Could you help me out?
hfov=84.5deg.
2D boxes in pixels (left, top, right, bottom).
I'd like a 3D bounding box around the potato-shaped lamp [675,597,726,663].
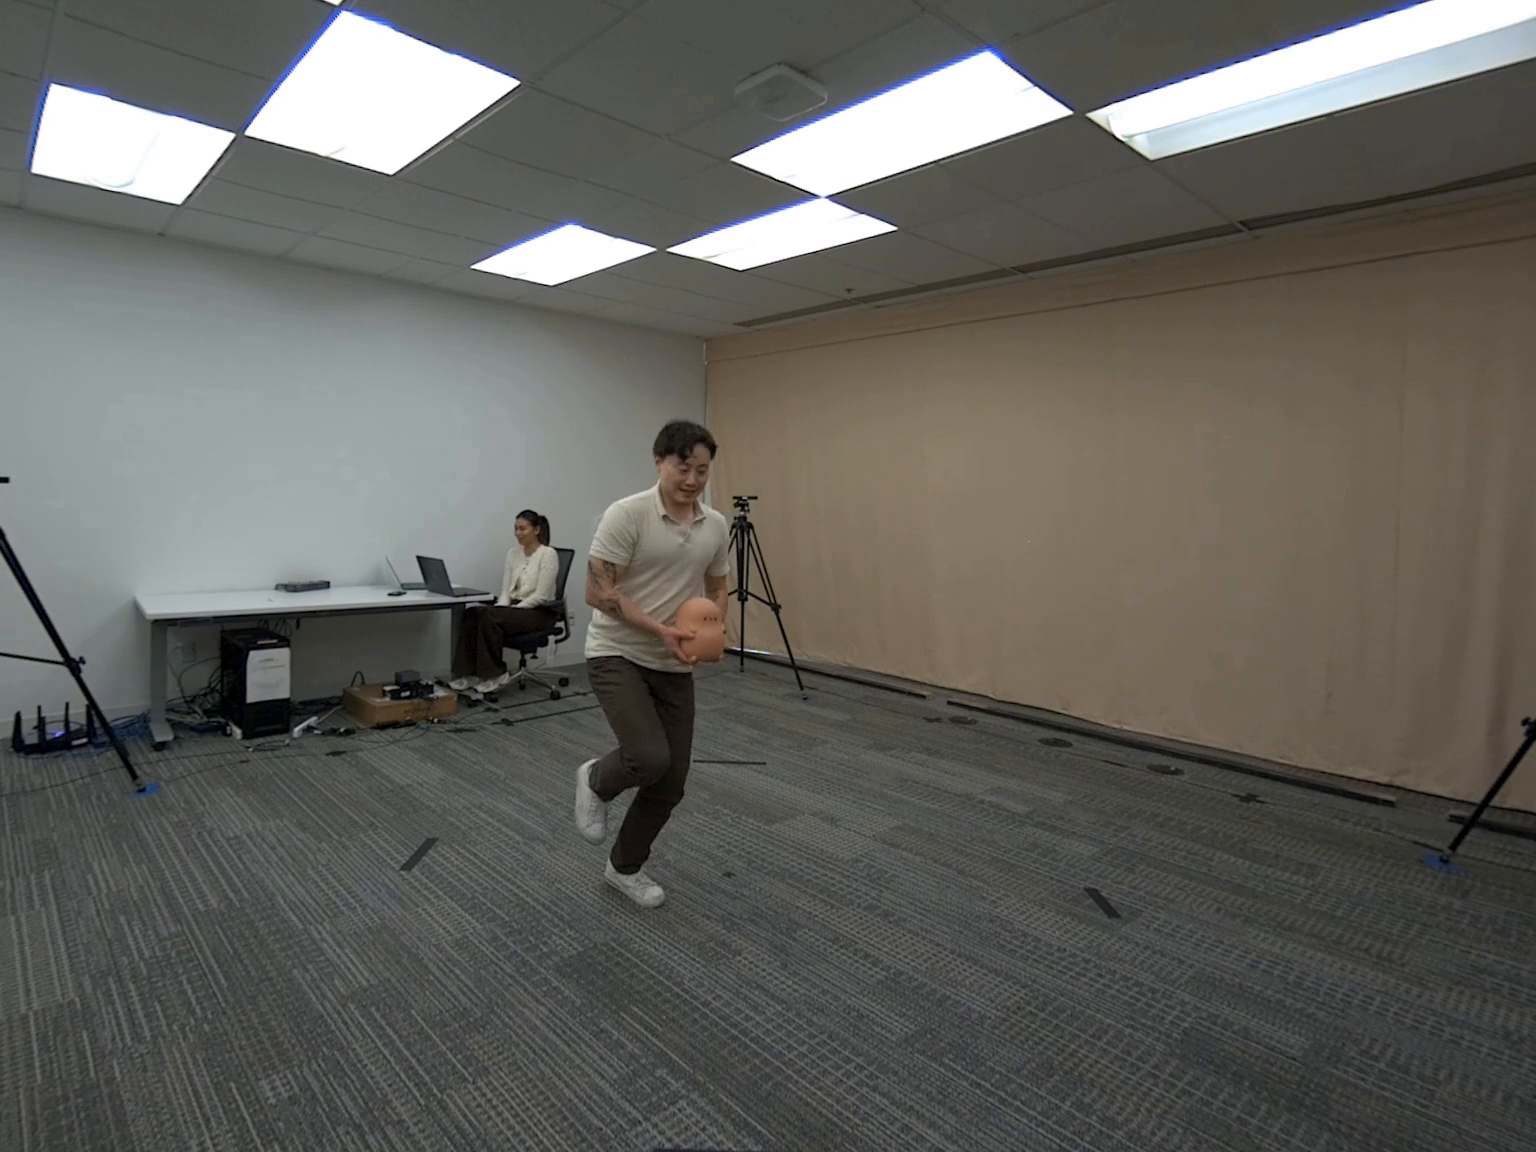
[{"bbox_3d":[-0.250,0.136,2.716,0.161,0.197,0.176,3,7,-35],"label":"potato-shaped lamp"}]
